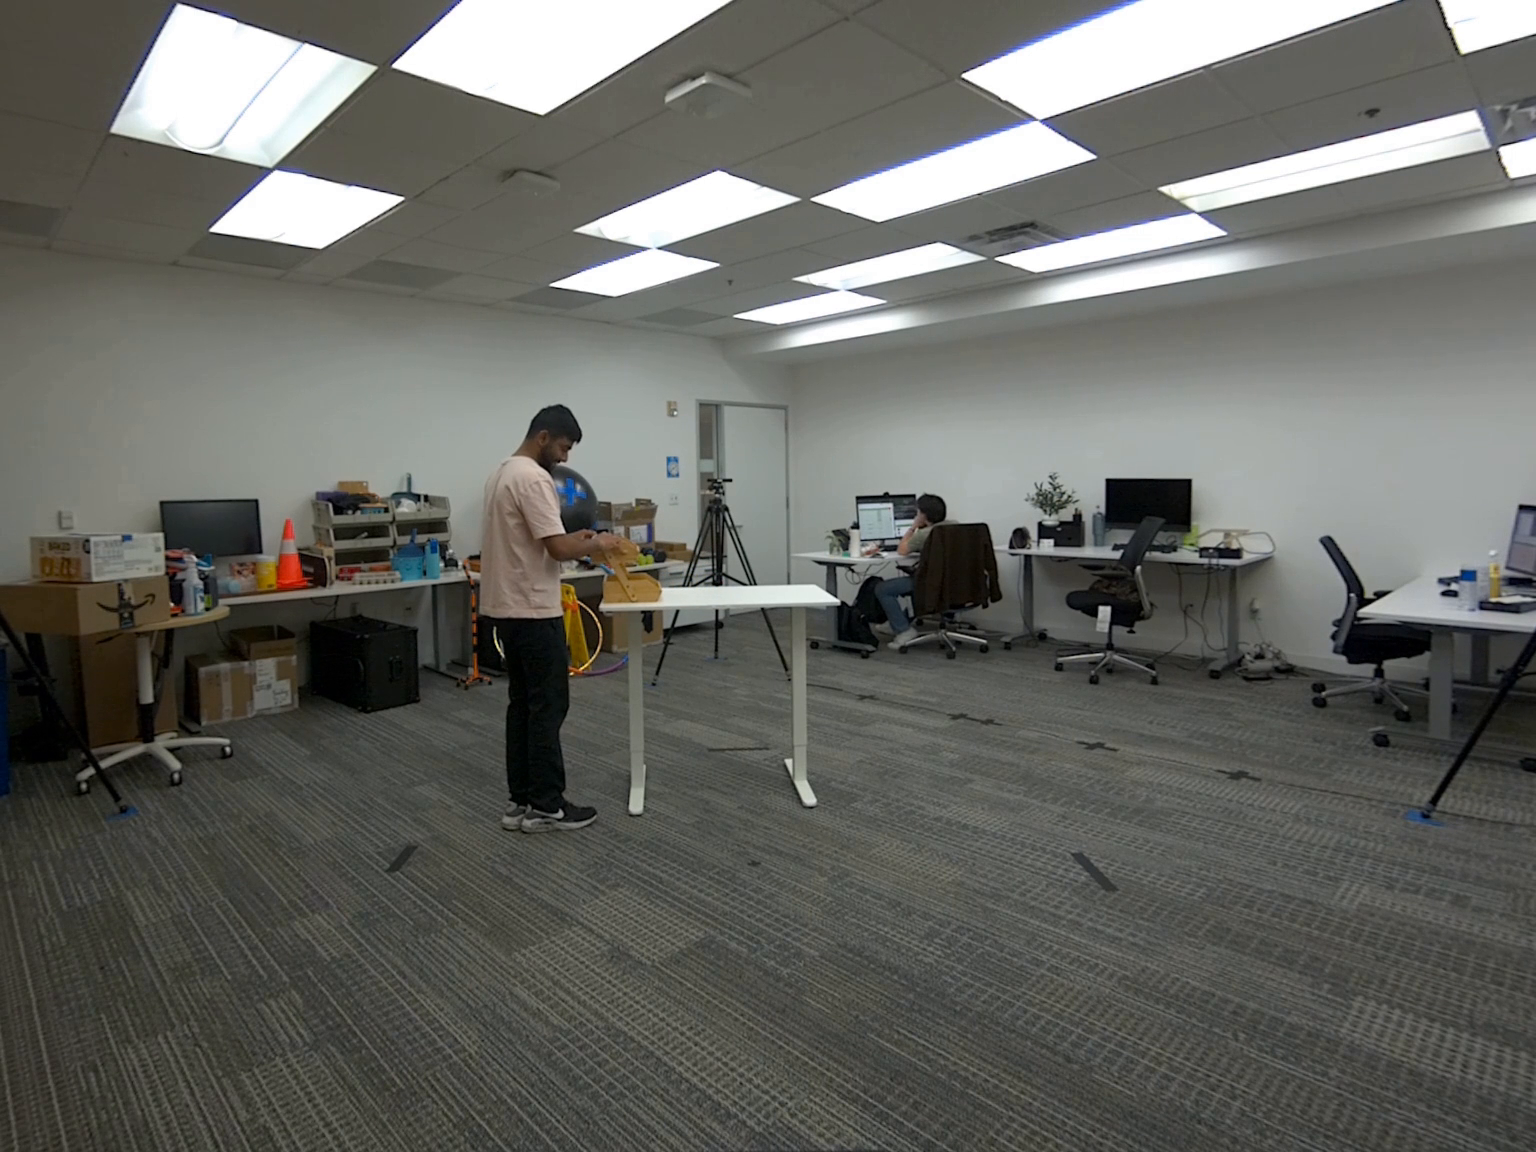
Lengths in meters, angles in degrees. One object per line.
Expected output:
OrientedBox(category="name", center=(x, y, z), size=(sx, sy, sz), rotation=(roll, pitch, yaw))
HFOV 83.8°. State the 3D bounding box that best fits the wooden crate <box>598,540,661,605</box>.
OrientedBox(category="wooden crate", center=(-0.623, -0.033, 3.773), size=(0.300, 0.273, 0.328), rotation=(-5, 3, -9))
